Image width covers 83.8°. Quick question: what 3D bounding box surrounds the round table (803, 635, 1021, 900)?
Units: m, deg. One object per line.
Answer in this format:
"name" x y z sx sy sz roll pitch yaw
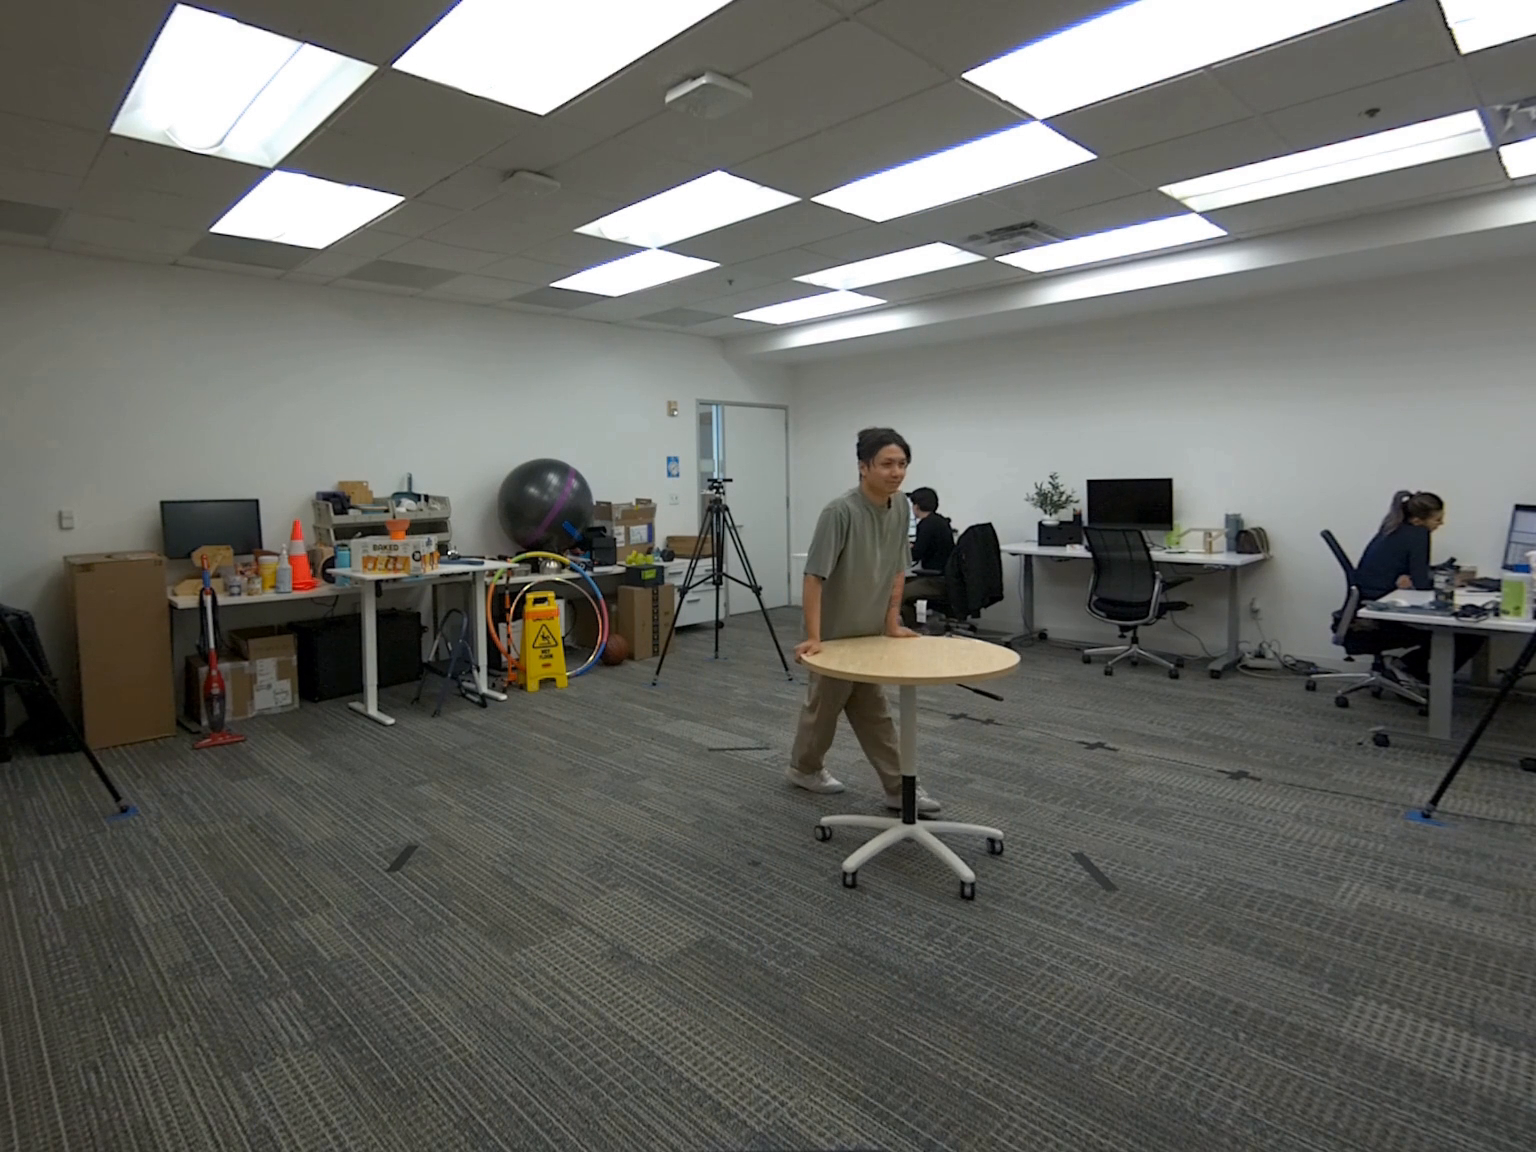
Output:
"round table" 0.484 0.658 3.091 0.784 0.784 0.788 -1 4 -2
